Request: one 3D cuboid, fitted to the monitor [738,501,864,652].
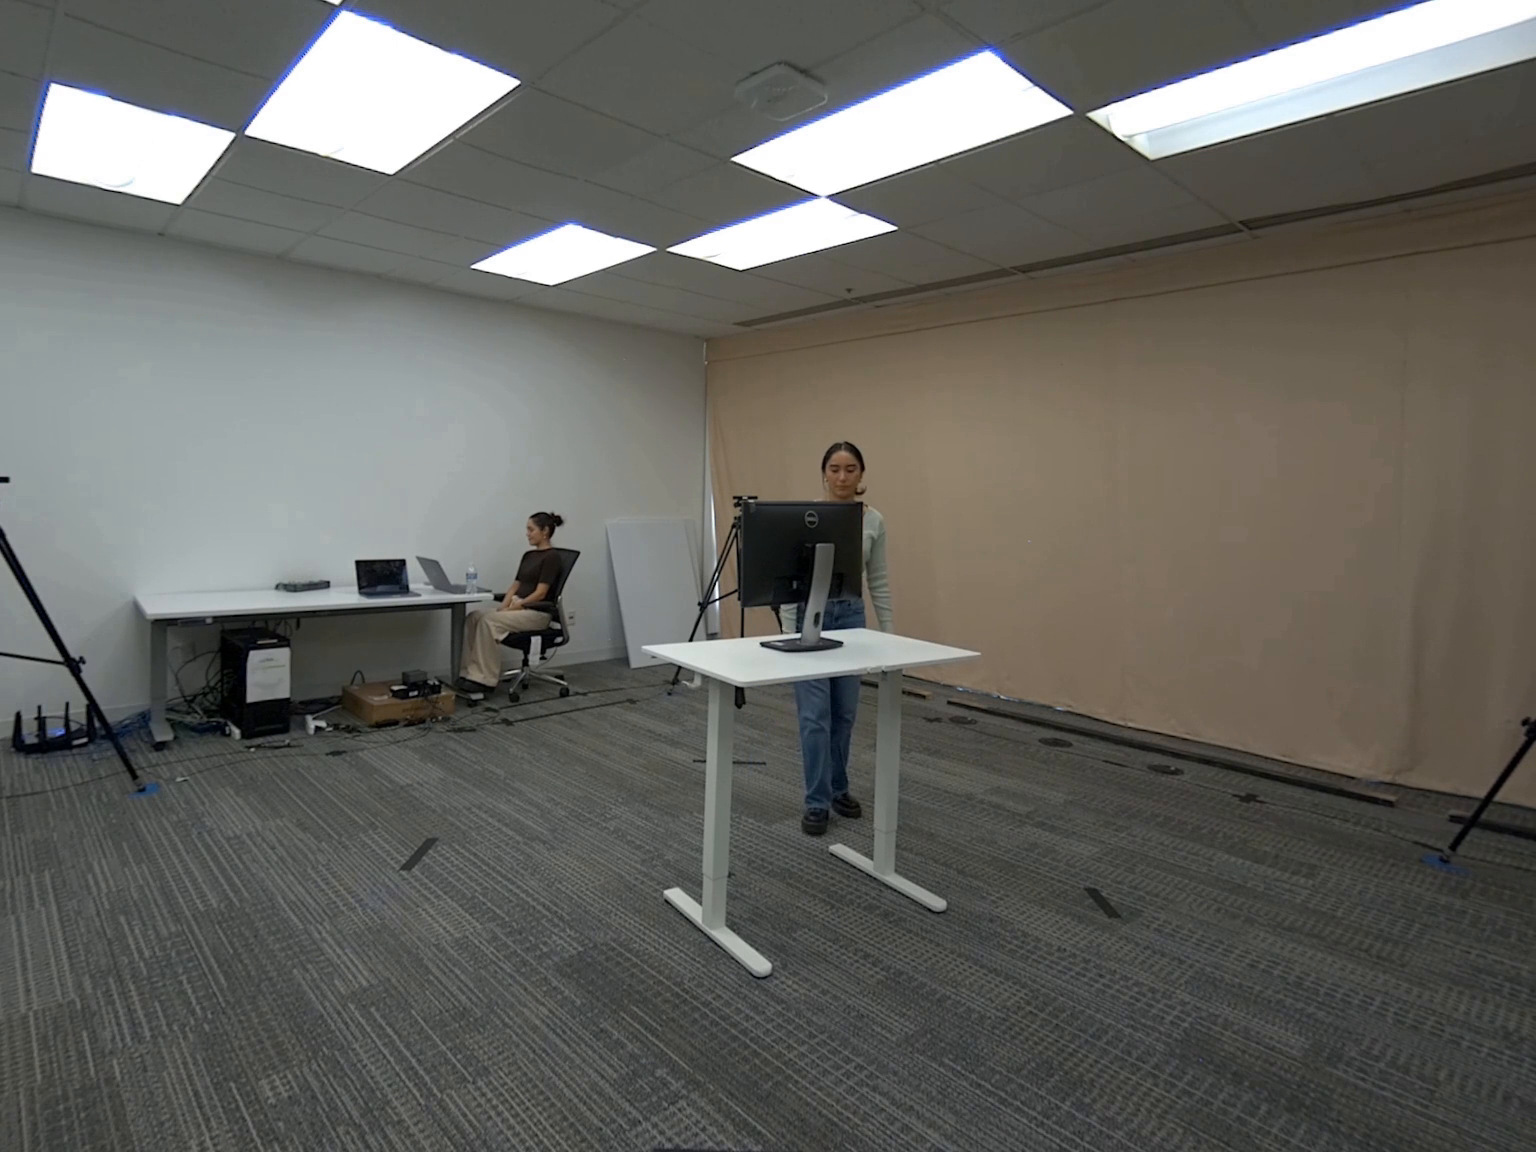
[{"bbox_3d":[0.135,0.004,2.892,0.527,0.522,0.191,-3,1,-39],"label":"monitor"}]
